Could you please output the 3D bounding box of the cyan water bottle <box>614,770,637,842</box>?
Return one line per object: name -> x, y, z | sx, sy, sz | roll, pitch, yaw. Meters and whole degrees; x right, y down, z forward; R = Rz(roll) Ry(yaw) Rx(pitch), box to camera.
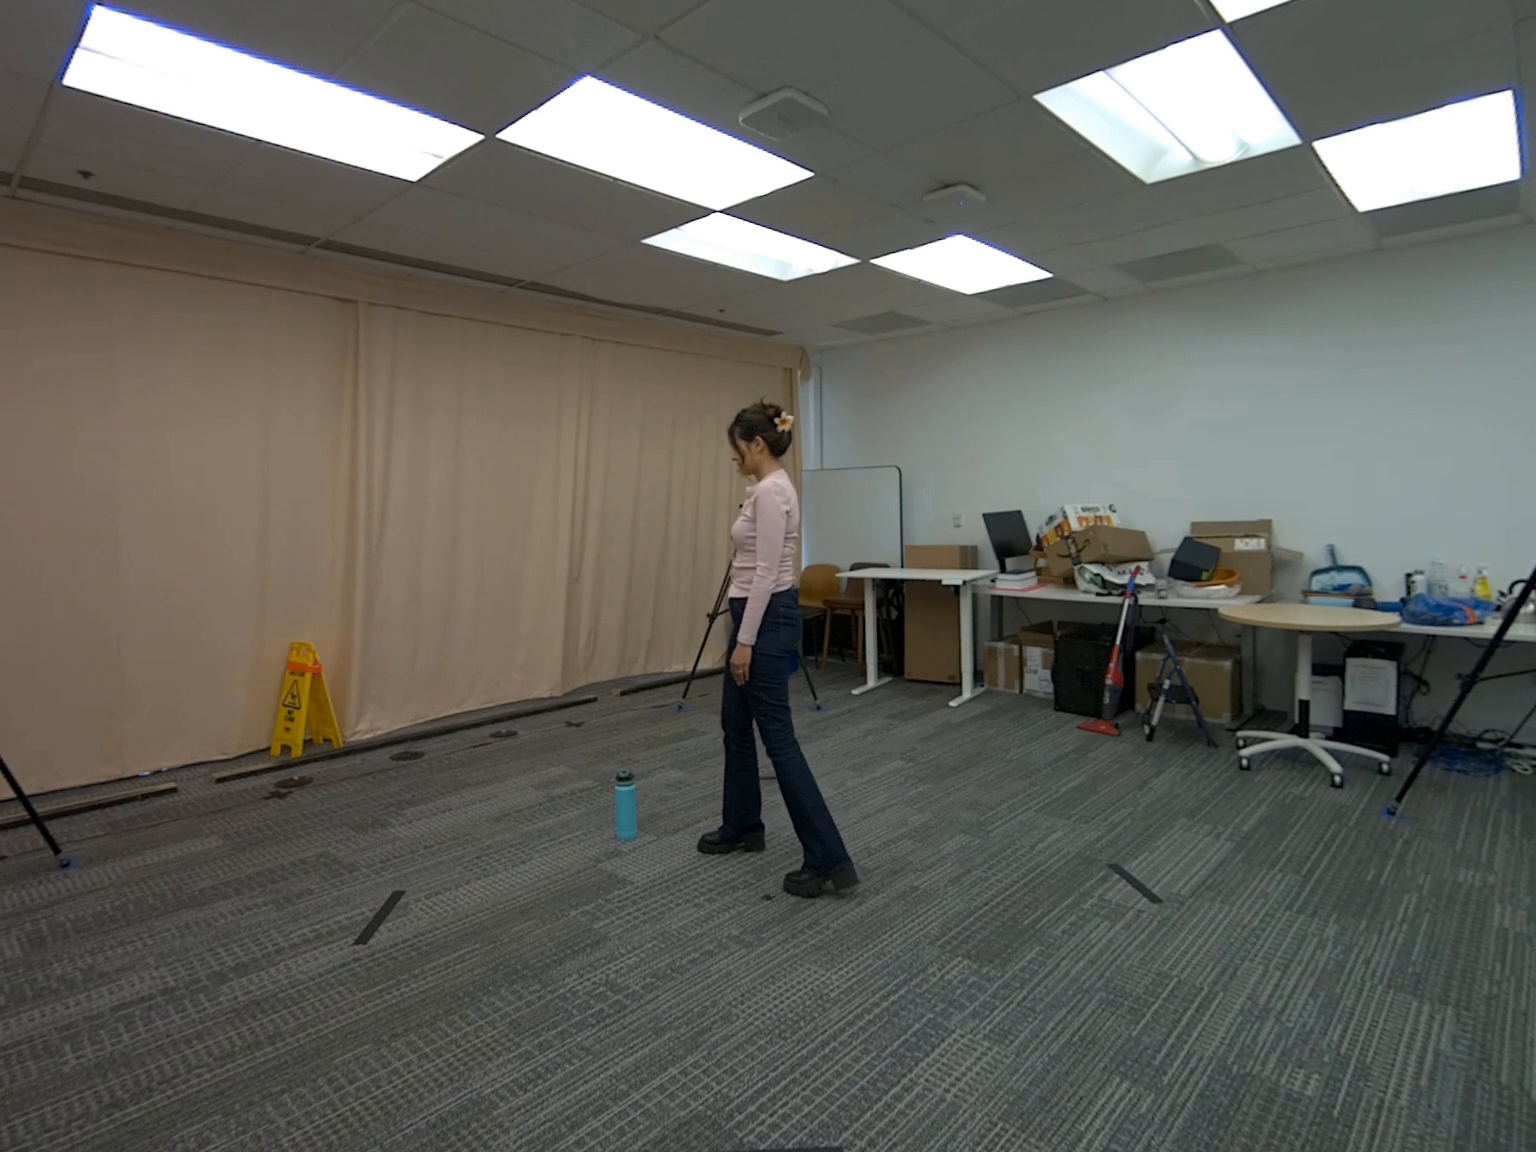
cyan water bottle -> -0.607, 0.965, 3.564 | 0.092, 0.283, 0.092 | -3, 3, -2
